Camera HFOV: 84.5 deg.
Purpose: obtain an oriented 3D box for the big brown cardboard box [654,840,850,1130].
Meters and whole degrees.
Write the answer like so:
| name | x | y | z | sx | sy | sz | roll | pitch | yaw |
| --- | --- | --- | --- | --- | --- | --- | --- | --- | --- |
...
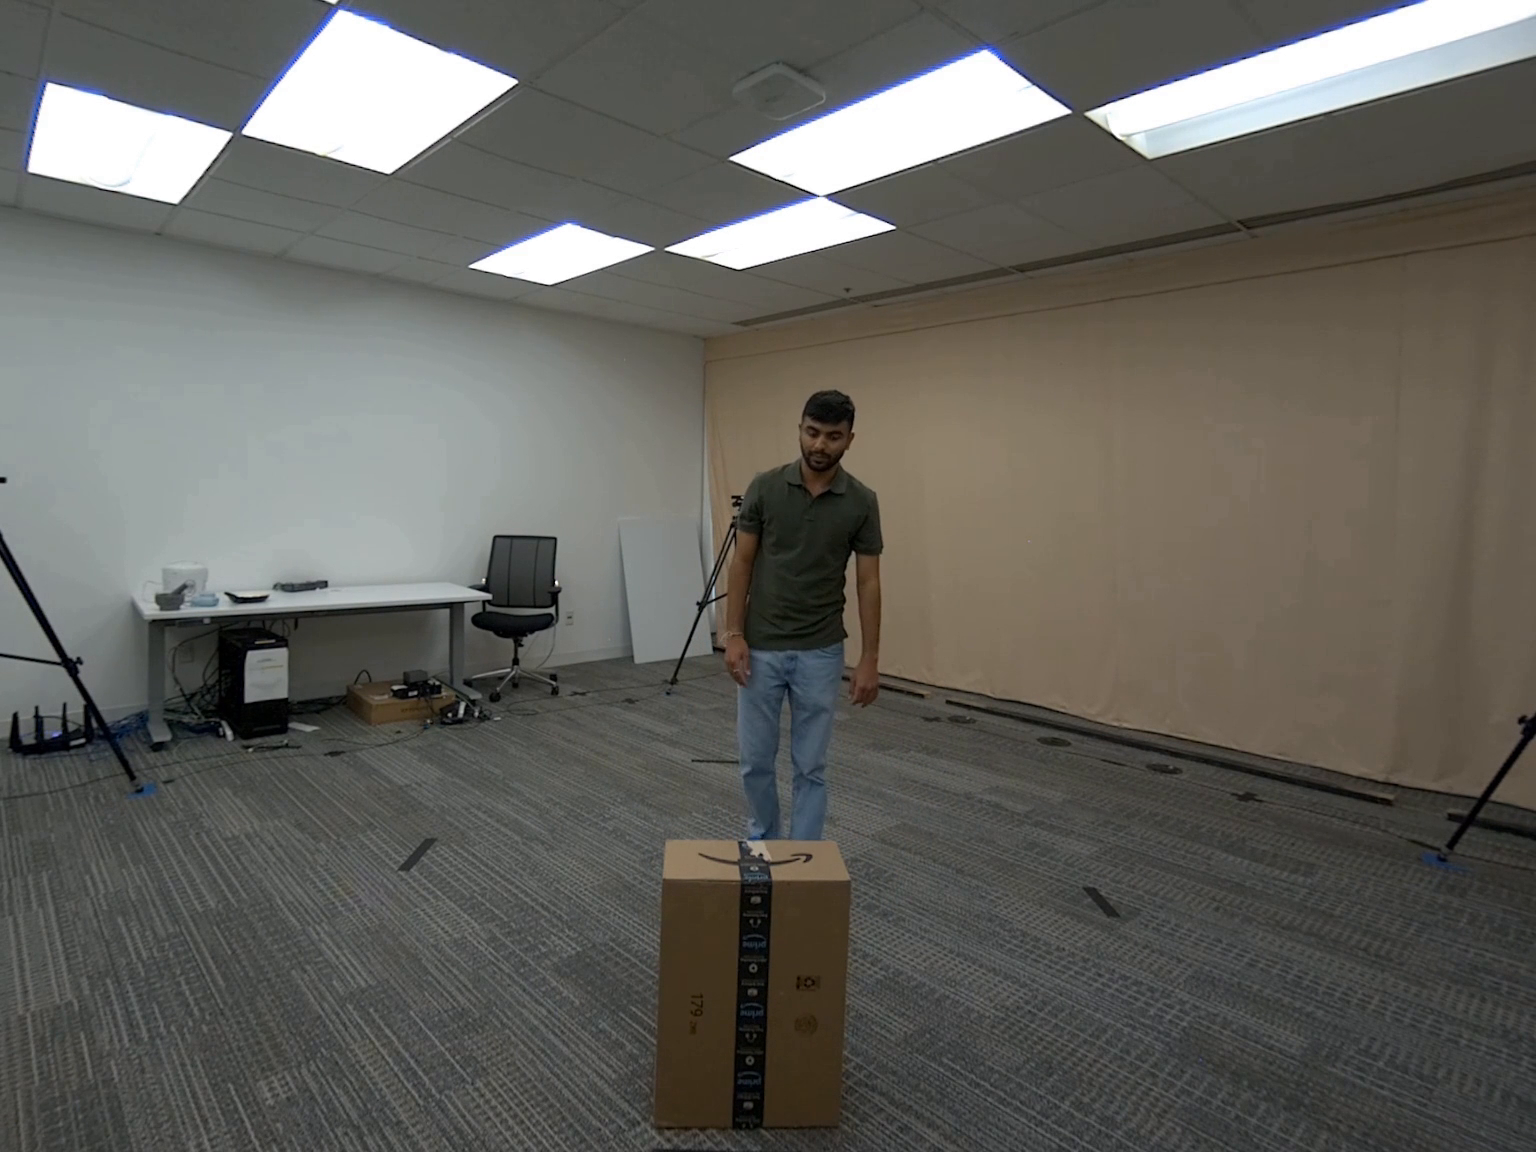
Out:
| name | x | y | z | sx | sy | sz | roll | pitch | yaw |
| --- | --- | --- | --- | --- | --- | --- | --- | --- | --- |
| big brown cardboard box | -0.052 | 0.938 | 1.942 | 0.417 | 0.587 | 0.234 | 2 | 4 | -3 |
